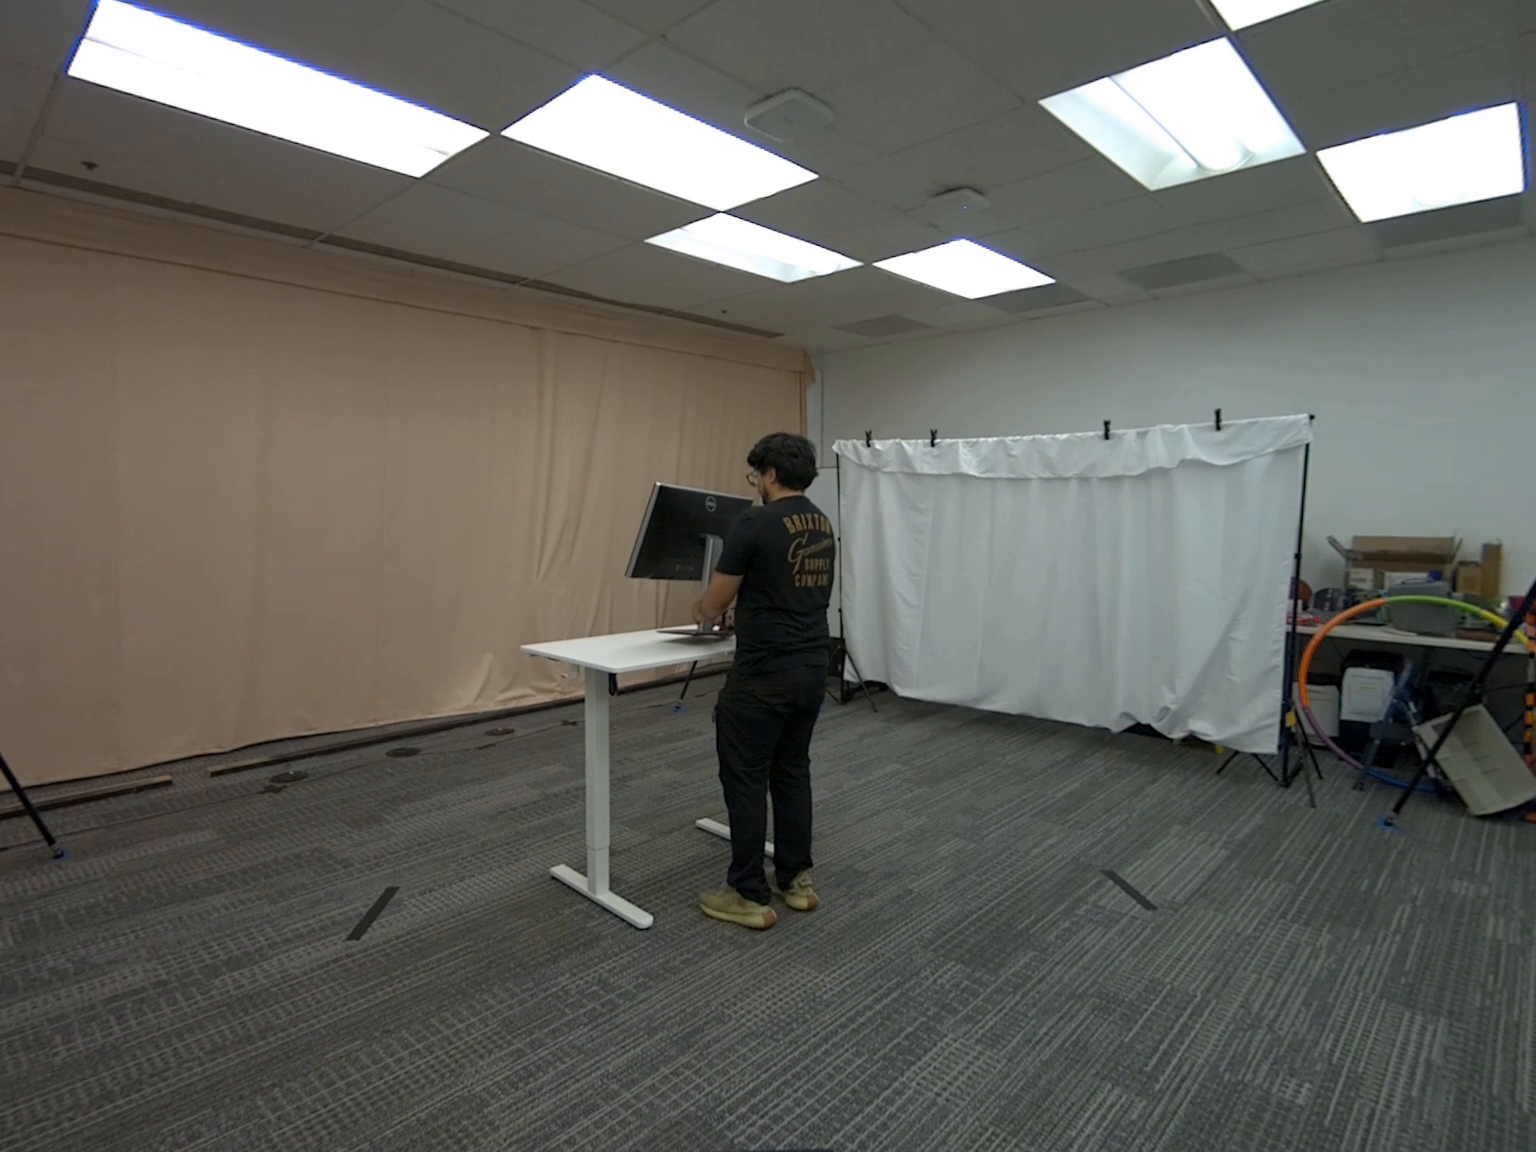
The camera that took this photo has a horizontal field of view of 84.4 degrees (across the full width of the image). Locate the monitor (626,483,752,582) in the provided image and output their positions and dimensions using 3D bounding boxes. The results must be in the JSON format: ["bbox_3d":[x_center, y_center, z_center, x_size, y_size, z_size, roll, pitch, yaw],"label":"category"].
[{"bbox_3d":[-0.246,-0.047,3.179,0.217,0.552,0.547,17,8,37],"label":"monitor"}]
